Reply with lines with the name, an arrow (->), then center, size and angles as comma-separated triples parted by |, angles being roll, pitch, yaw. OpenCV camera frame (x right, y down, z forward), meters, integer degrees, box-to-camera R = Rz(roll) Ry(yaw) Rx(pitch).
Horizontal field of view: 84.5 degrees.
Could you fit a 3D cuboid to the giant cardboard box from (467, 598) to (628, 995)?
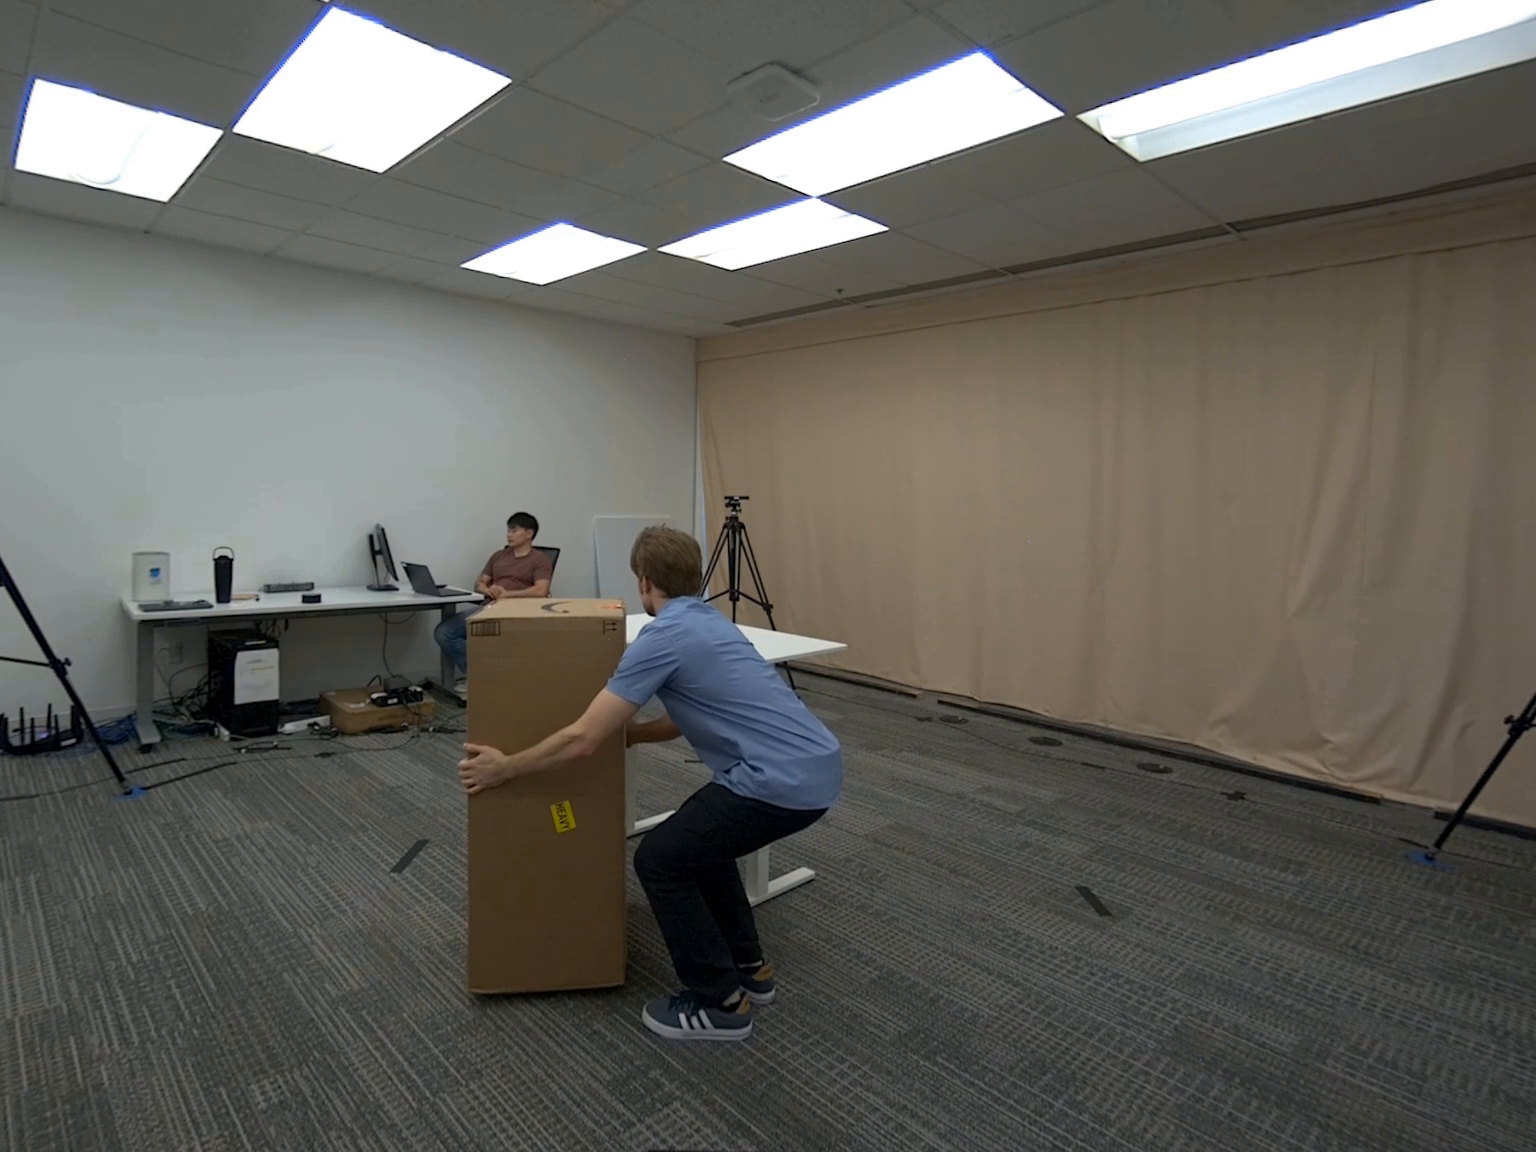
giant cardboard box -> -0.657, 0.607, 2.558 | 0.423, 1.025, 0.582 | 0, 1, -10
